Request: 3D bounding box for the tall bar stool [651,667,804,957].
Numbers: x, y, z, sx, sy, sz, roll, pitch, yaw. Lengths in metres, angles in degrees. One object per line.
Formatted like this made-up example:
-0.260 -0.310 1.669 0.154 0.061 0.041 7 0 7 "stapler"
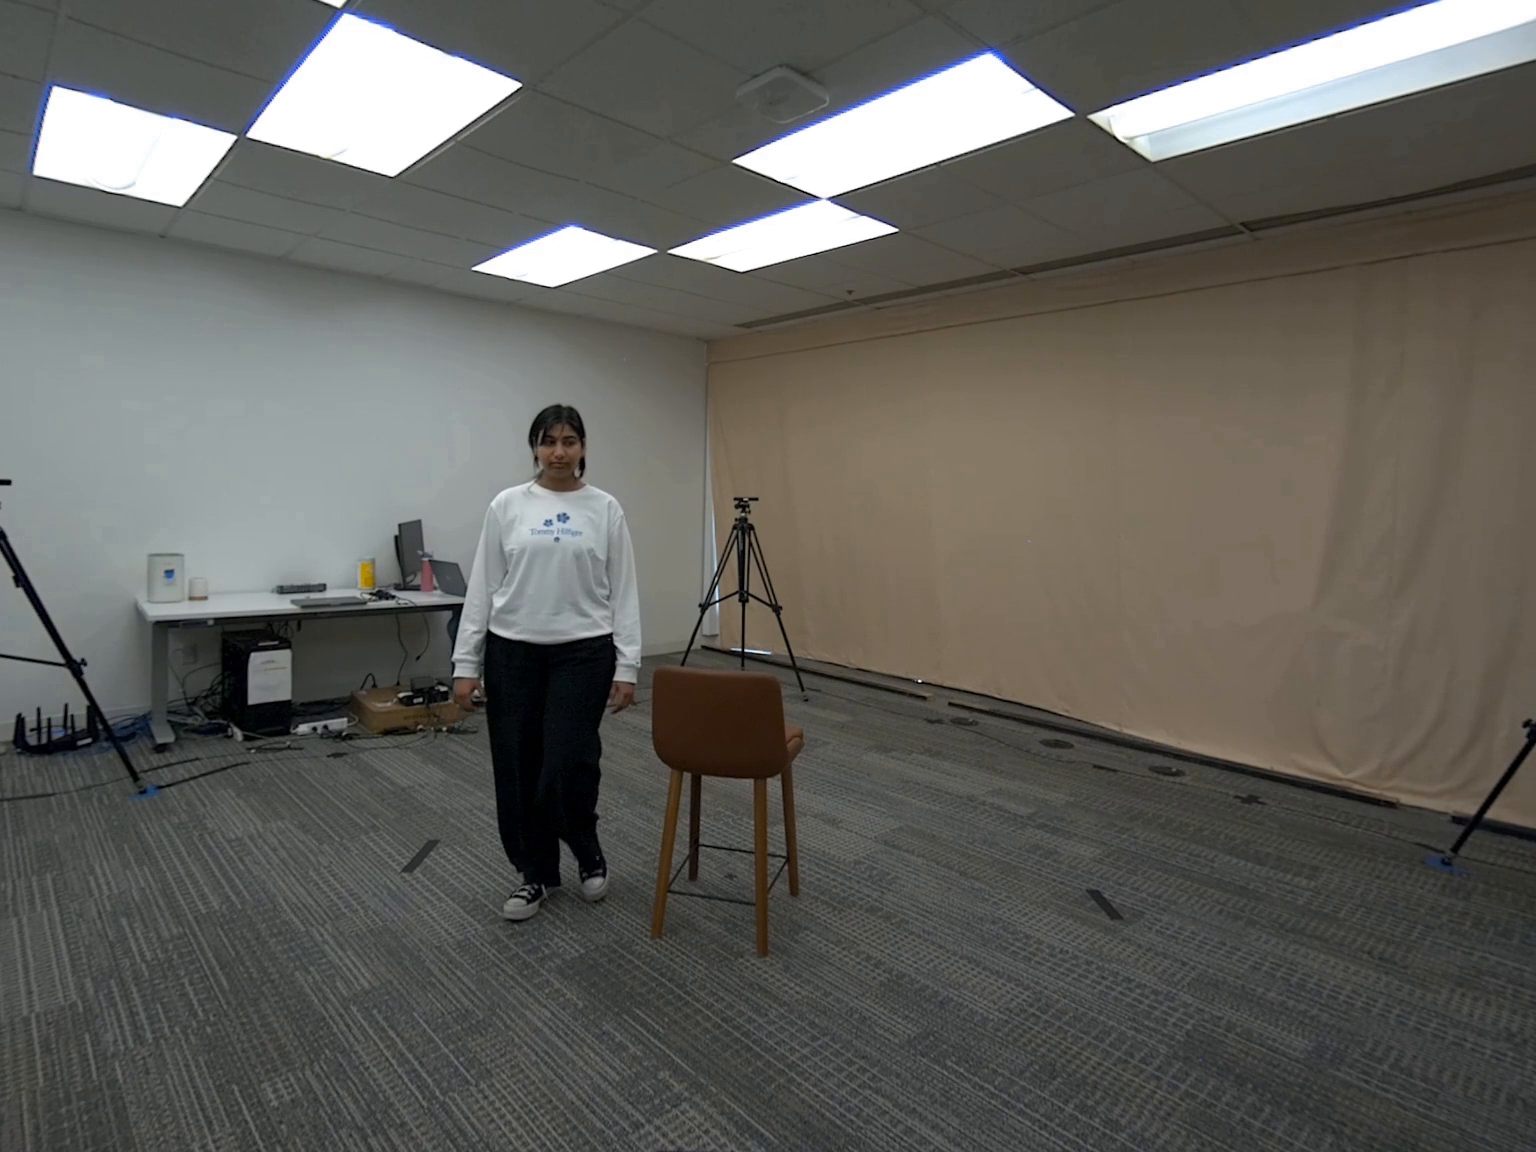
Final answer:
-0.137 0.703 2.787 0.462 0.886 0.463 2 5 16 "tall bar stool"
